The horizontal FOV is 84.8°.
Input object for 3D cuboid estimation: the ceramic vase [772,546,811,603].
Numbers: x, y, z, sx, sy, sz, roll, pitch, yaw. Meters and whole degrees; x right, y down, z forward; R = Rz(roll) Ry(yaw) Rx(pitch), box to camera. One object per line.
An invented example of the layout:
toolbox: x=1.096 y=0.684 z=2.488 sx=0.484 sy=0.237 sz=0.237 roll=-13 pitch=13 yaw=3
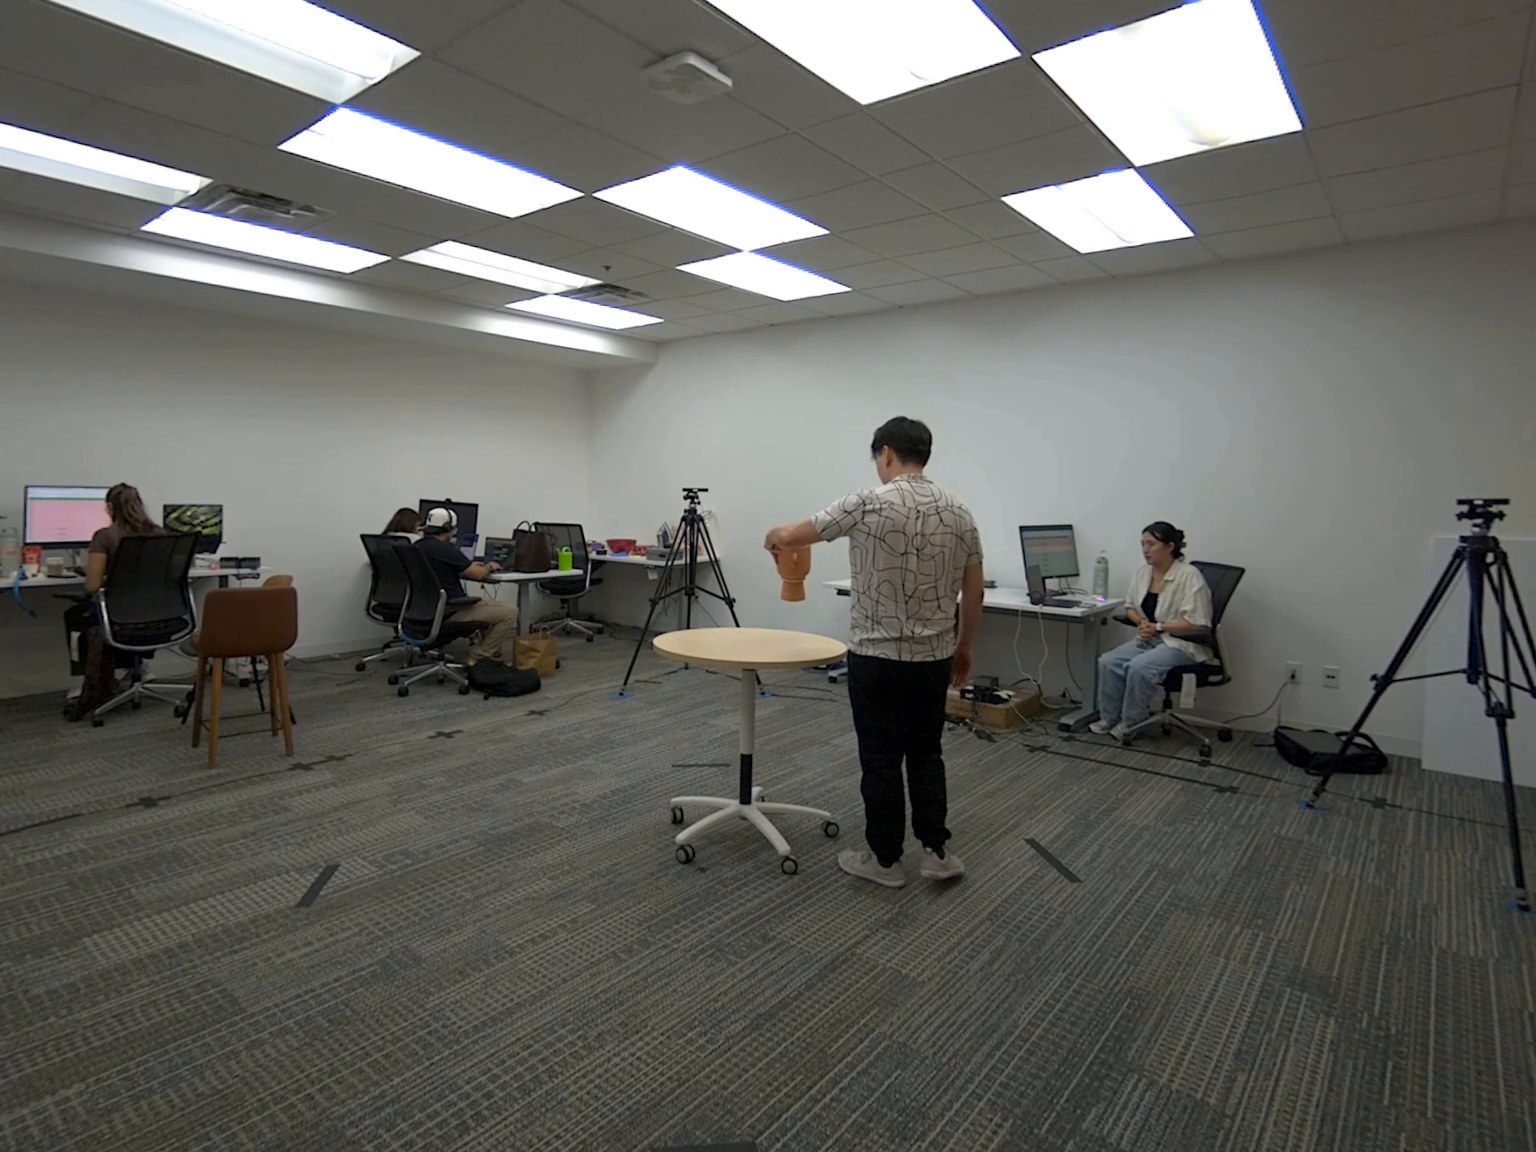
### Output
ceramic vase: x=0.093 y=-0.020 z=3.308 sx=0.139 sy=0.217 sz=0.155 roll=8 pitch=14 yaw=38
